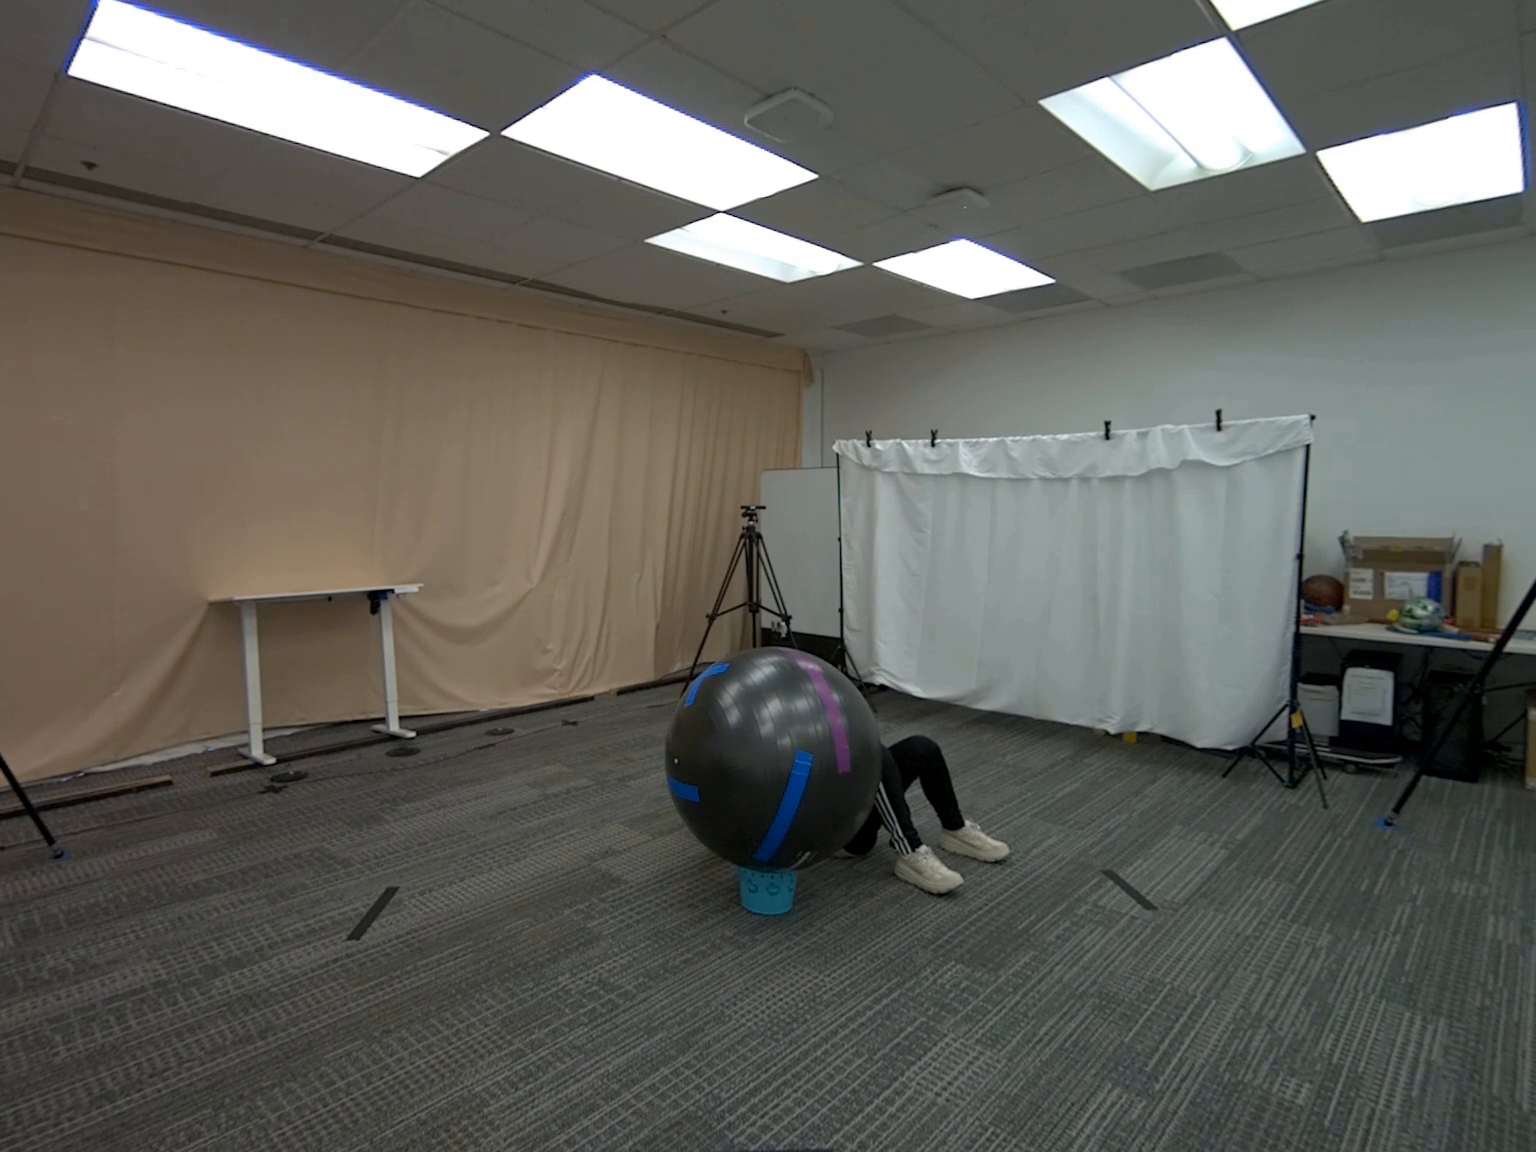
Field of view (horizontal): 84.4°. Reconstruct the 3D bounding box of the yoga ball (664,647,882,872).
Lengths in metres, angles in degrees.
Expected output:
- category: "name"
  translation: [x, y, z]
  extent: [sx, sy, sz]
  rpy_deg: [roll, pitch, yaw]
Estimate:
- category: "yoga ball"
  translation: [0.012, 0.625, 2.946]
  extent: [0.757, 0.756, 0.760]
  rpy_deg: [0, 4, -2]
